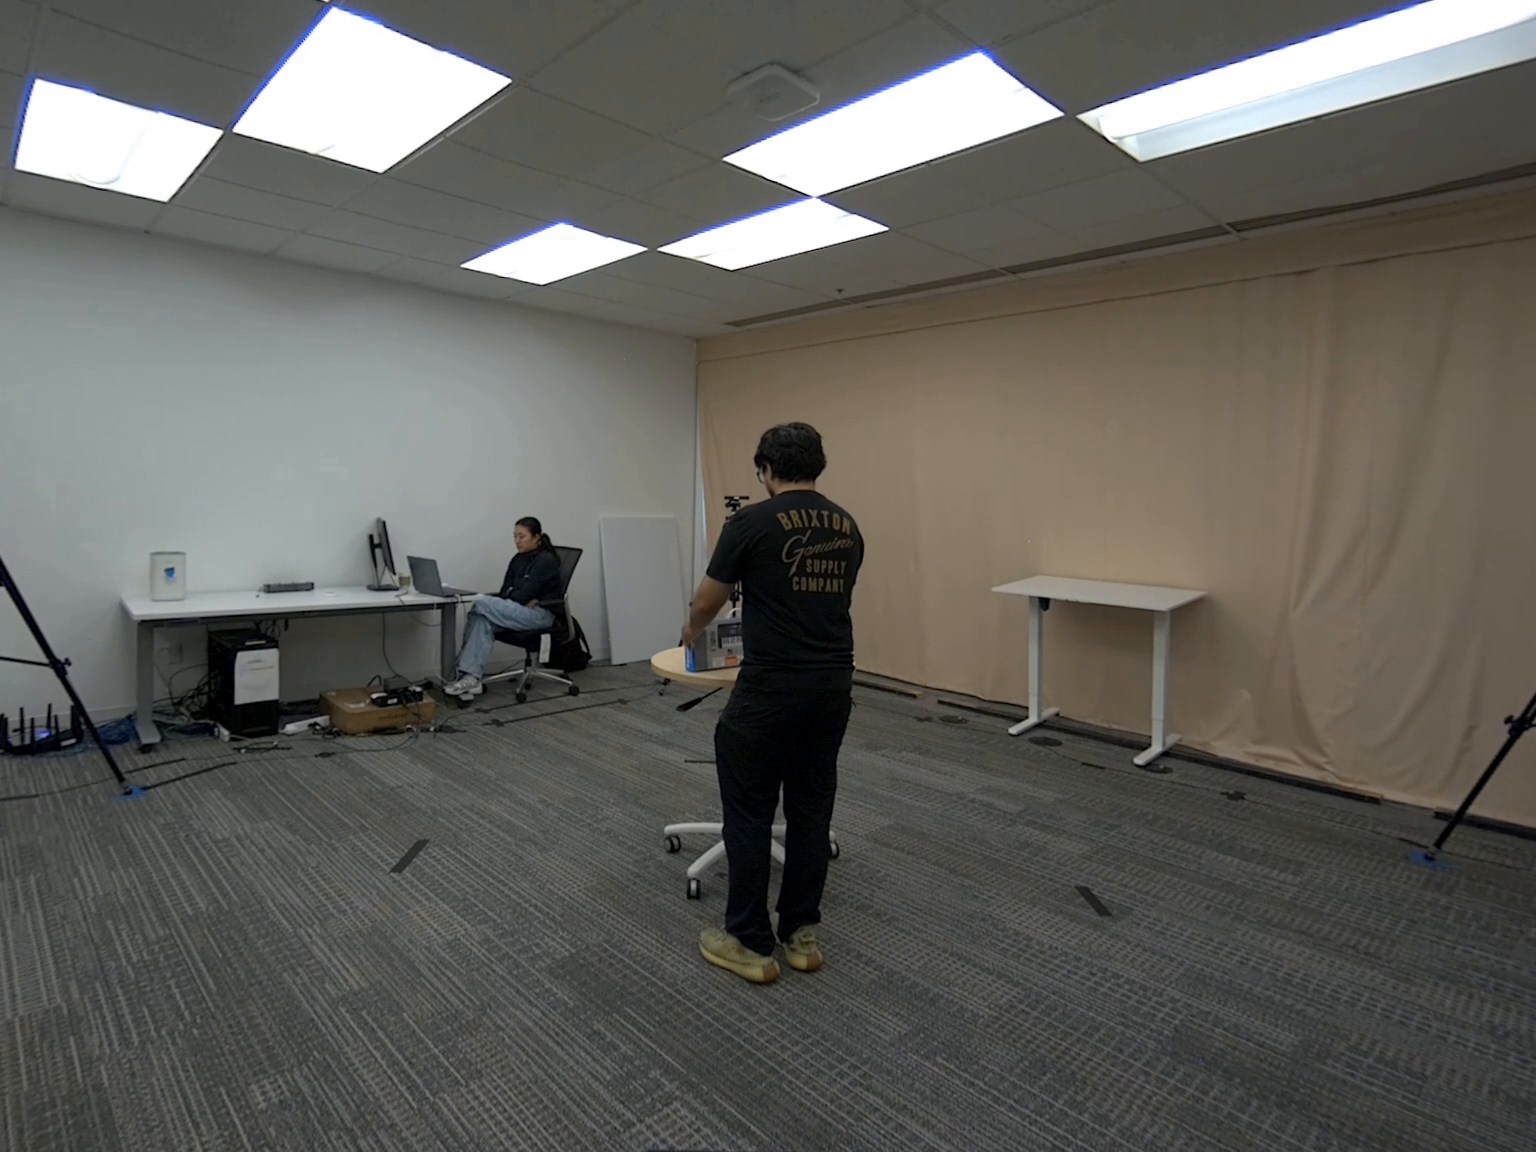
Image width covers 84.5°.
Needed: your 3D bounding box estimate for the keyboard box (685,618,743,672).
[{"bbox_3d":[-0.106,0.241,3.056,0.427,0.176,0.060,-3,1,-37],"label":"keyboard box"}]
